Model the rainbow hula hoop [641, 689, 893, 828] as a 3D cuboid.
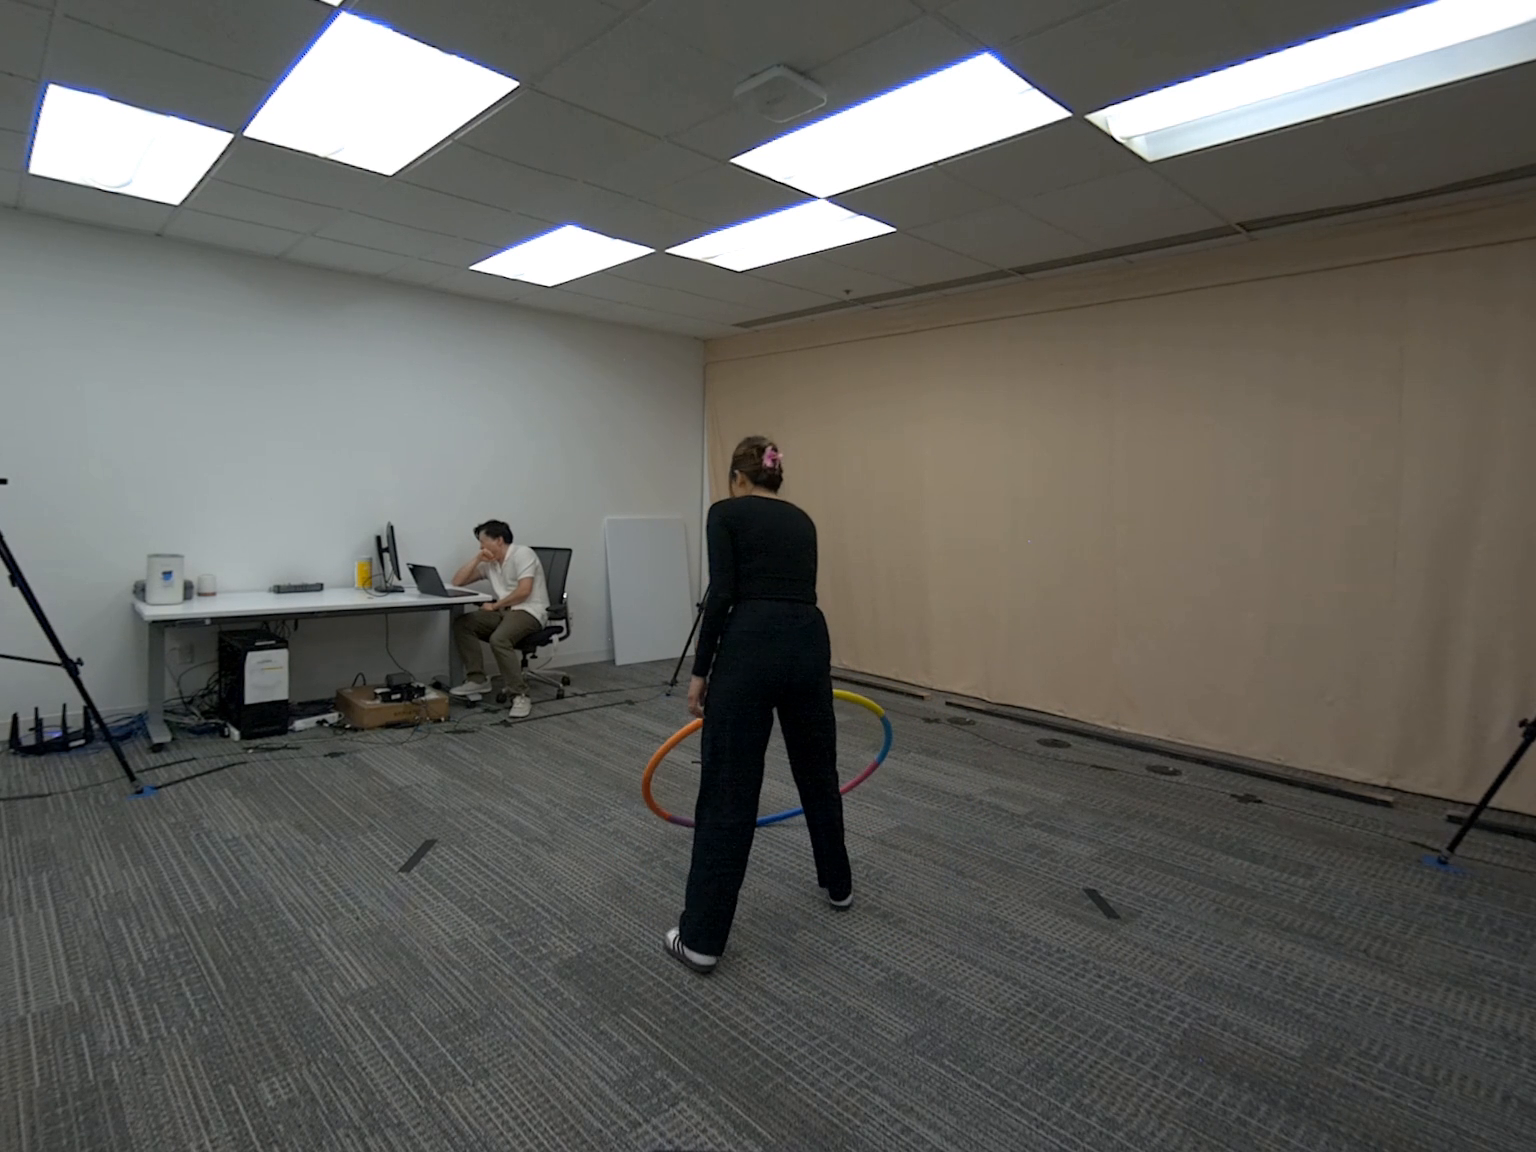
[{"bbox_3d":[0.010,0.730,3.248,0.965,0.965,0.036,0,47,-19],"label":"rainbow hula hoop"}]
